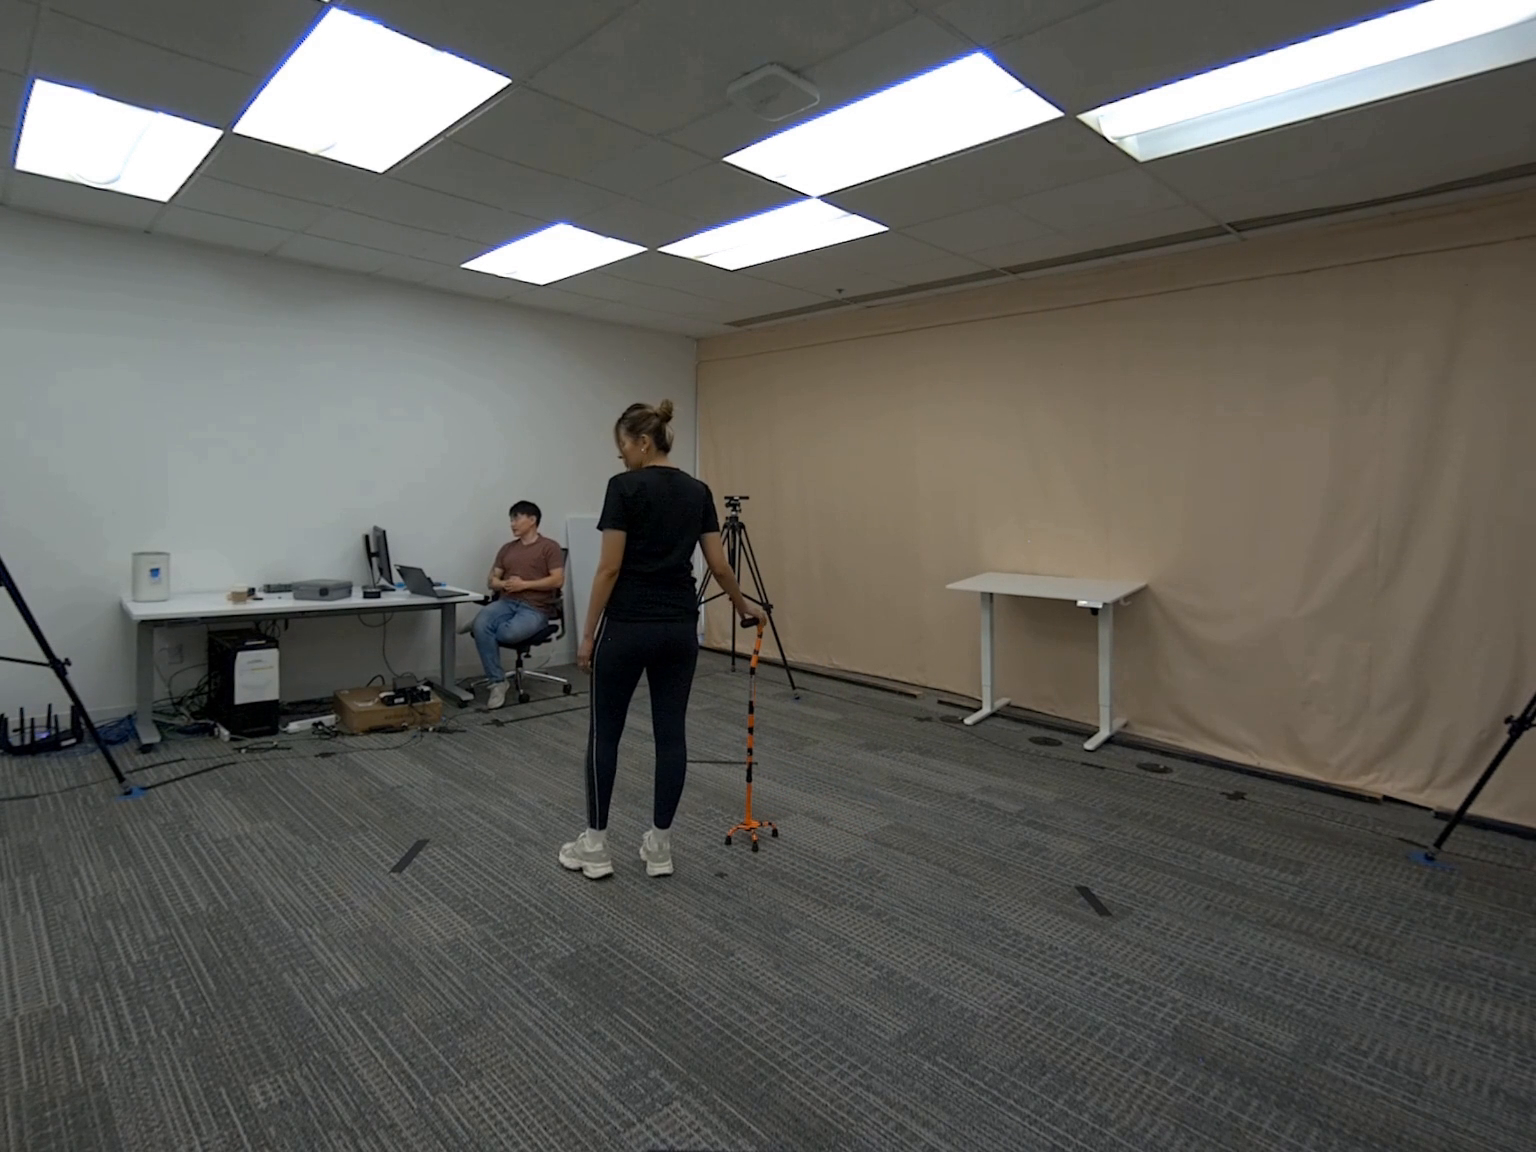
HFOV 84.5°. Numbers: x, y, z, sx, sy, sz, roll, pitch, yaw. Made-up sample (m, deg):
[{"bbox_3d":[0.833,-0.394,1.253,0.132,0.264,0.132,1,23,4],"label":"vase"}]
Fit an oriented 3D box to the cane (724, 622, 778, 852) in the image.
[{"bbox_3d":[-0.059,0.621,3.410,0.154,0.906,0.203,3,3,24],"label":"cane"}]
